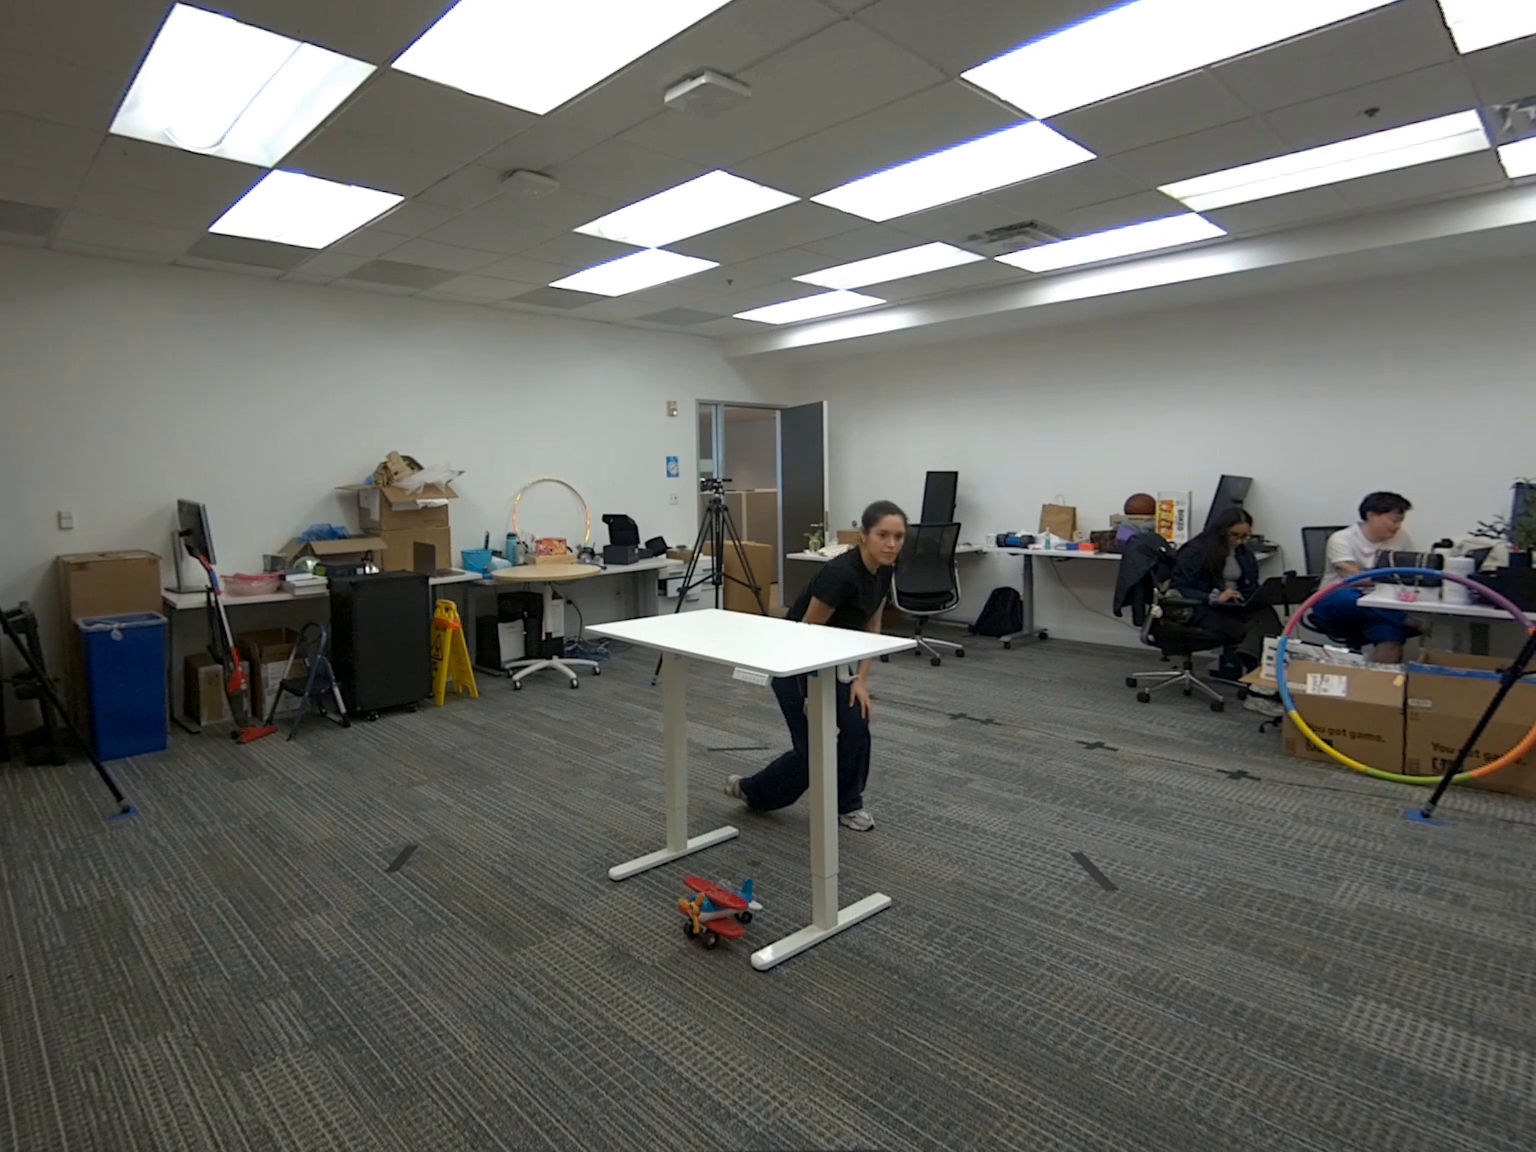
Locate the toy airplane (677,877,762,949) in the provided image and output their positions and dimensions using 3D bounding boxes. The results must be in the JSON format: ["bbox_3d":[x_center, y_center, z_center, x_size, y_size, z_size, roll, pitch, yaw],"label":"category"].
[{"bbox_3d":[-0.151,1.027,2.655,0.255,0.155,0.257,1,9,16],"label":"toy airplane"}]
